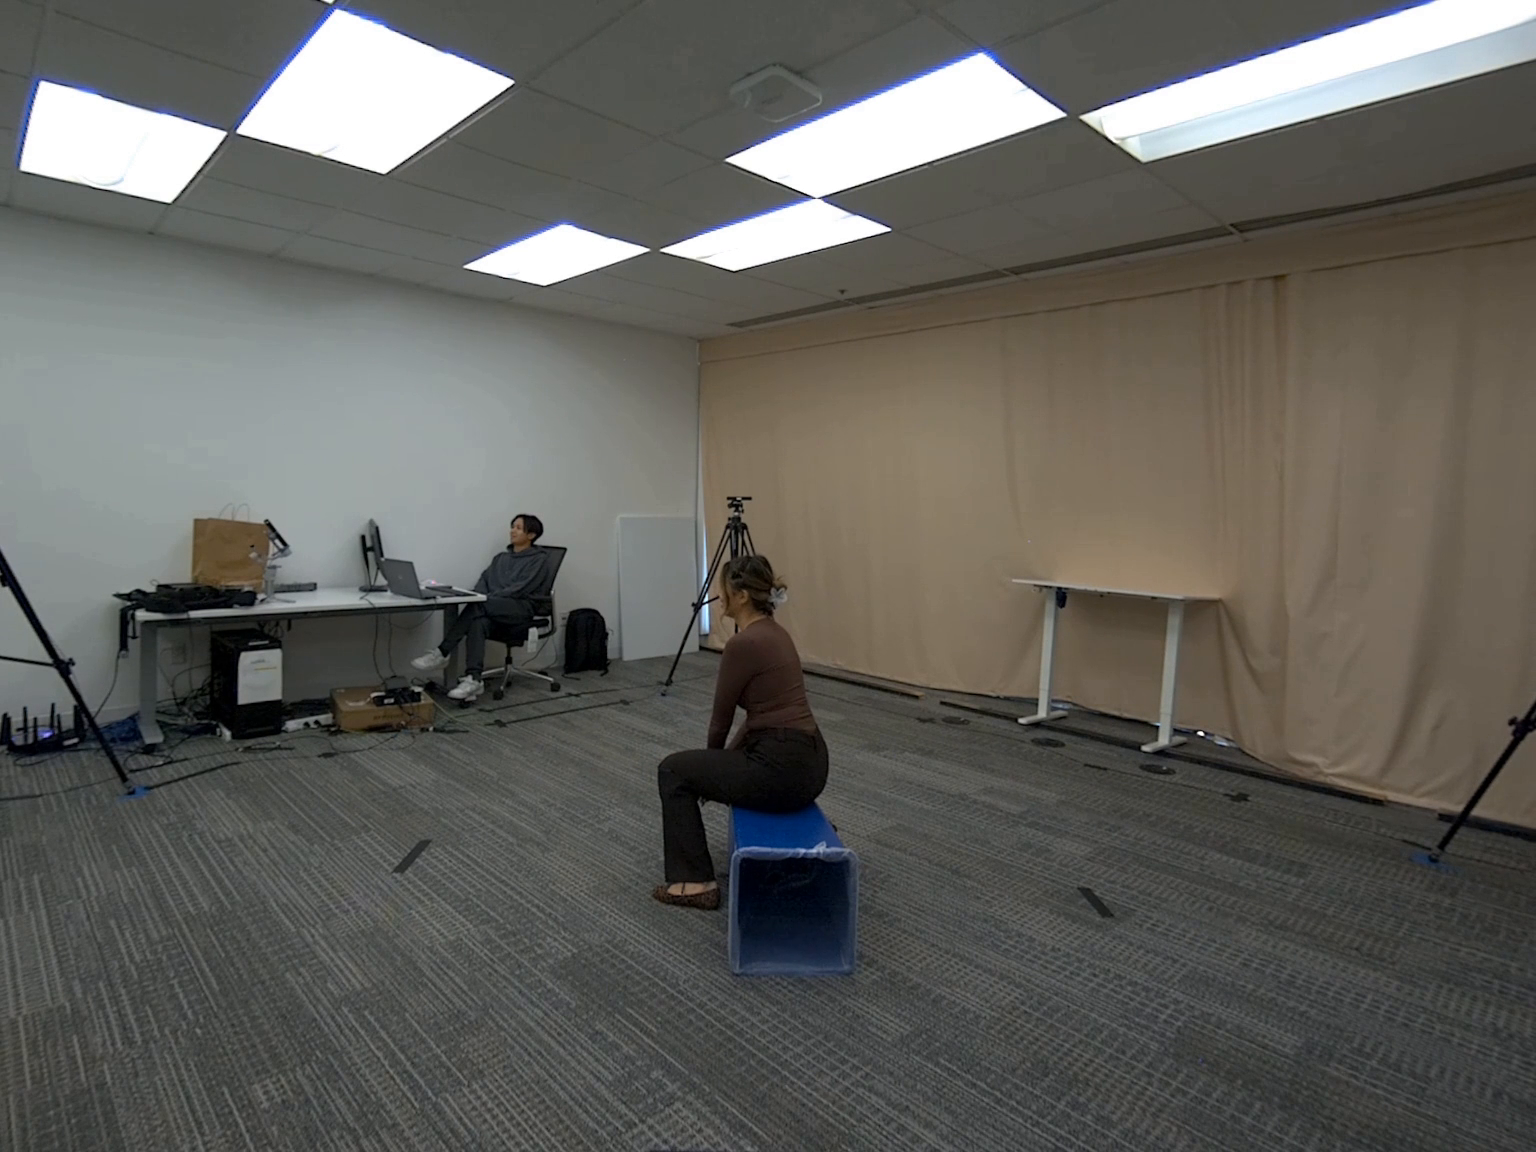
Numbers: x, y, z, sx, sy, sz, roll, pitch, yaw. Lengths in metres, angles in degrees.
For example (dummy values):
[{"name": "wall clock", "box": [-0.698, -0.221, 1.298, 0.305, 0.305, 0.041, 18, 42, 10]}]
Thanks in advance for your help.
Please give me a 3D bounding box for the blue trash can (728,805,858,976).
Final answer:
[{"name": "blue trash can", "box": [0.020, 0.972, 2.805, 0.372, 0.378, 0.717, 0, 2, -7]}]
